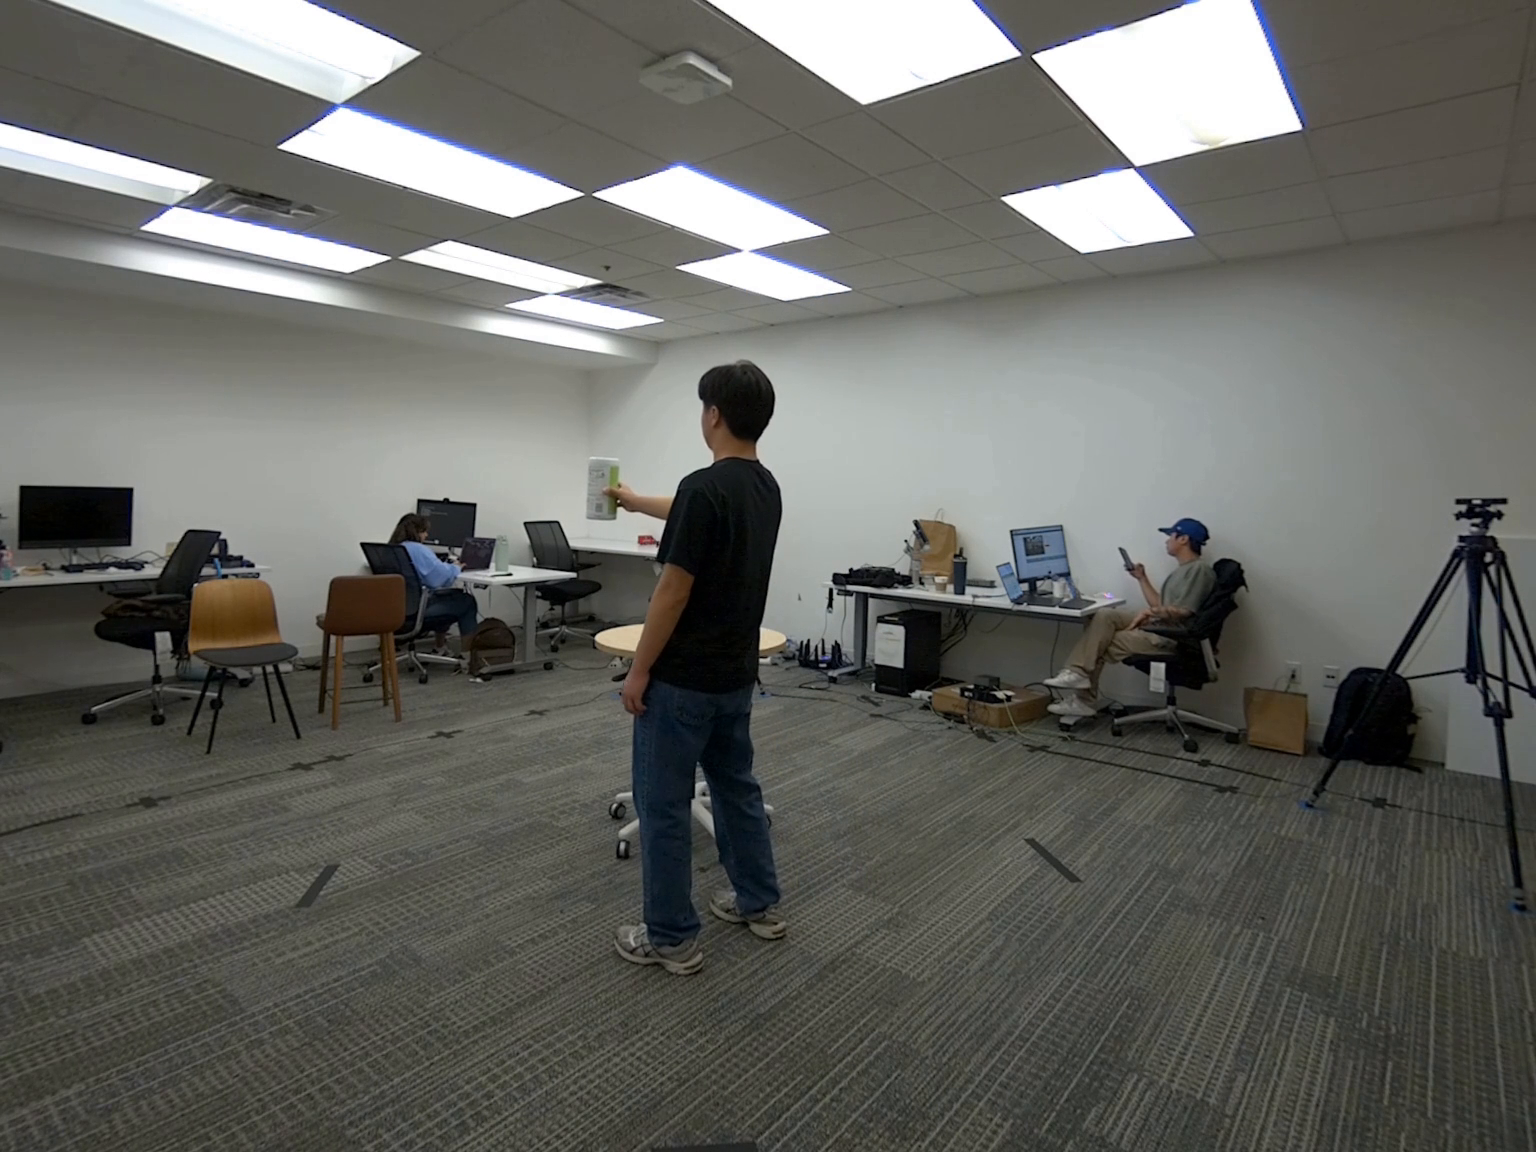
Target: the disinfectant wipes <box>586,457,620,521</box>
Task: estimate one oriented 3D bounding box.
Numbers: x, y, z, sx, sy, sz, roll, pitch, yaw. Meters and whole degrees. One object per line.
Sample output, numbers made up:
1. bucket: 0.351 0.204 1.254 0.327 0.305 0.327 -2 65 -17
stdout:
1. disinfectant wipes: -0.591 -0.311 2.975 0.117 0.217 0.118 3 4 -2
